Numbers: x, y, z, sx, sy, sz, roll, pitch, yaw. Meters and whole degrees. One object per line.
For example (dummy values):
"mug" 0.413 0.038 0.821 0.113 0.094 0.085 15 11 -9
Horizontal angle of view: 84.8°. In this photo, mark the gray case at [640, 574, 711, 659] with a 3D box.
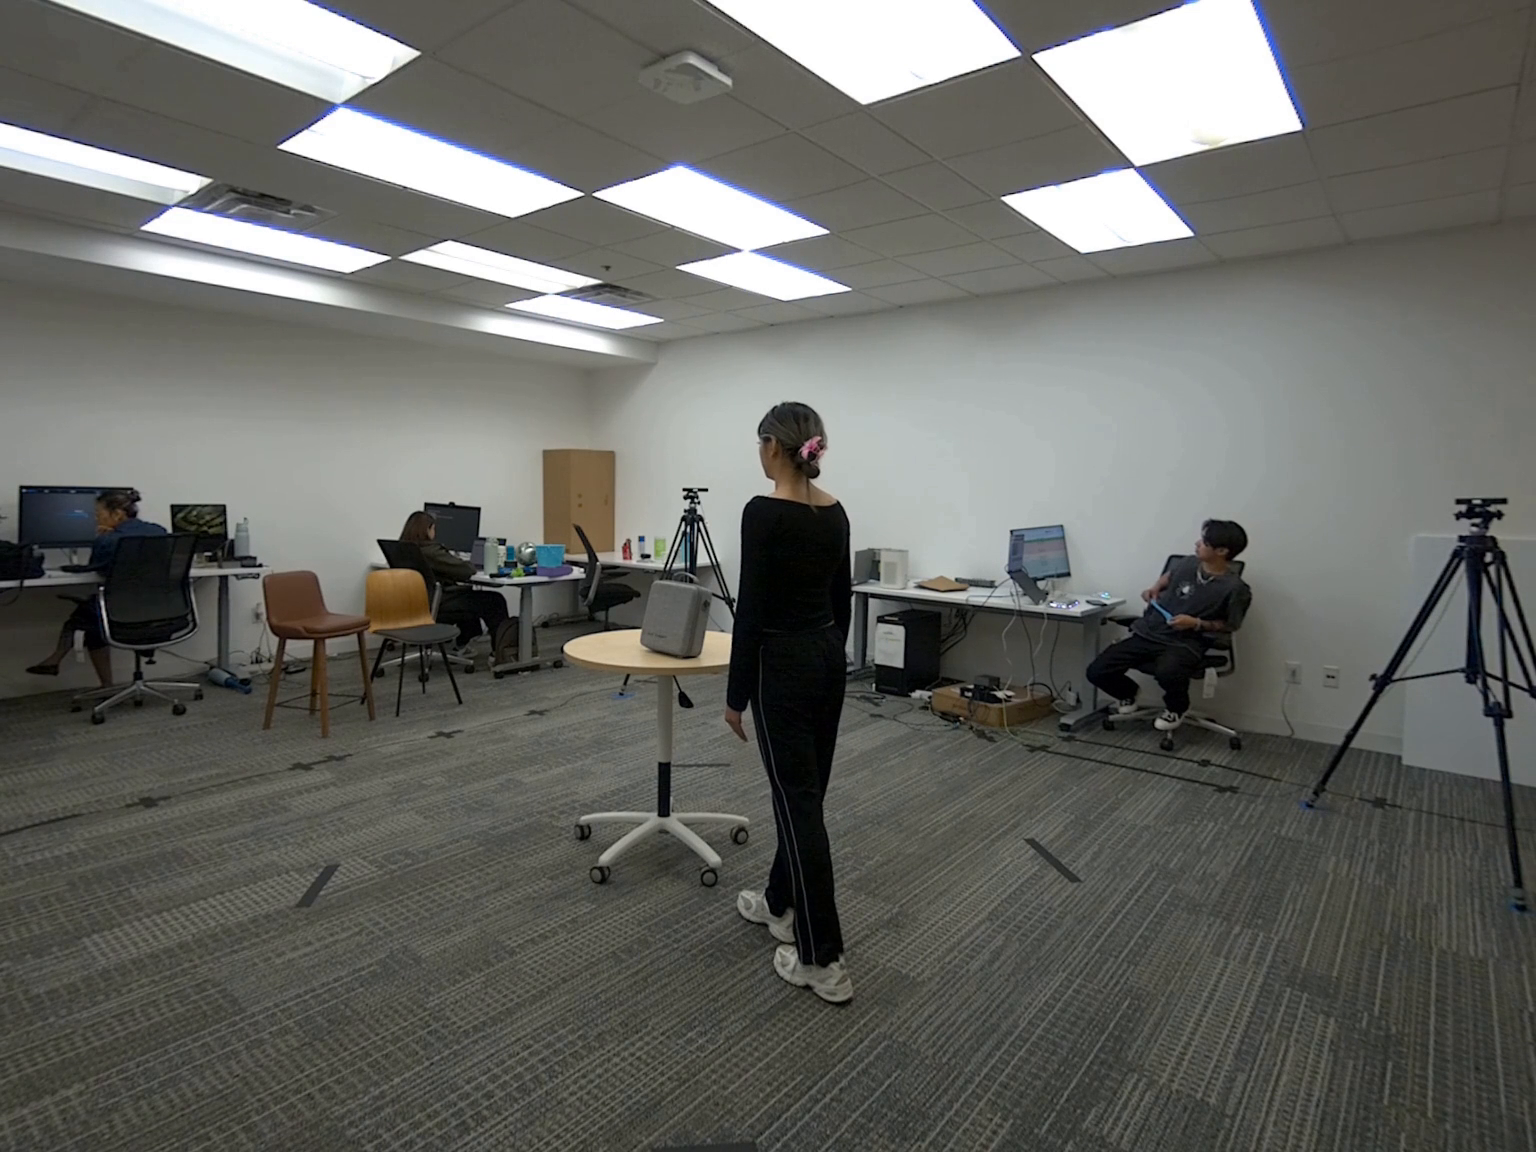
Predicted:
"gray case" -0.344 0.145 3.086 0.100 0.262 0.266 15 -6 -44
